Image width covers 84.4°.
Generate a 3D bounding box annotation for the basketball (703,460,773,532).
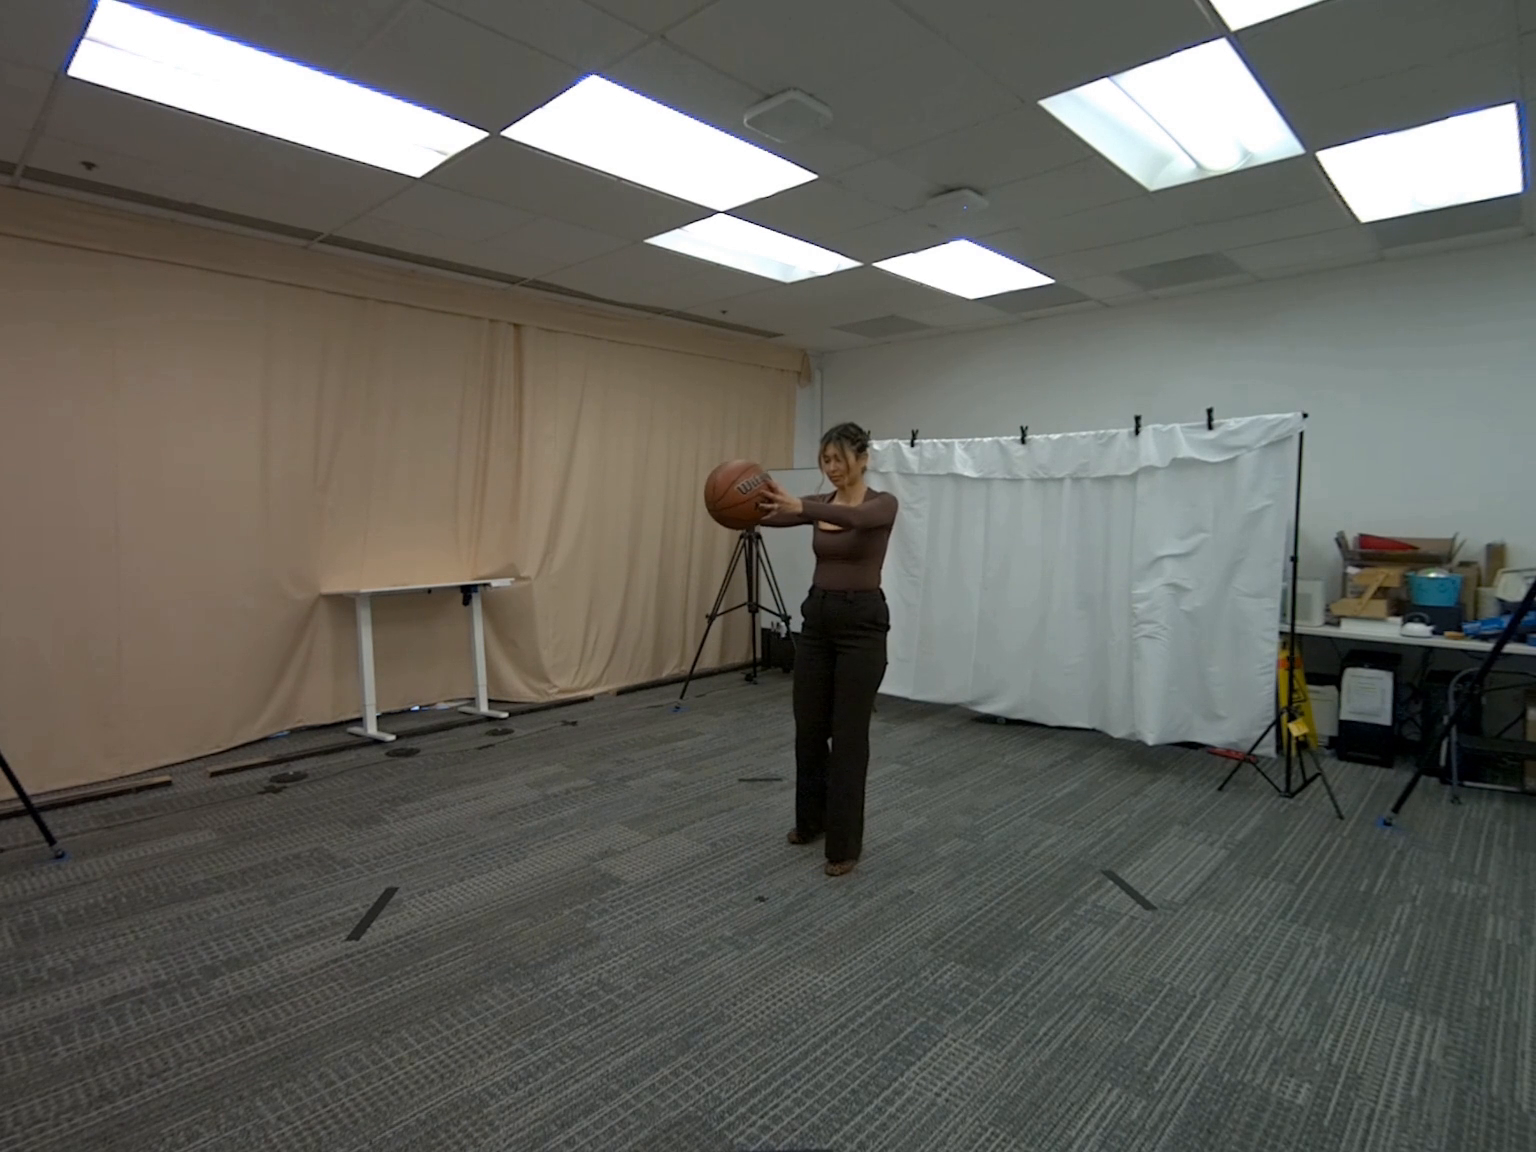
[{"bbox_3d":[-0.090,-0.274,2.822,0.236,0.235,0.237,0,4,-2],"label":"basketball"}]
